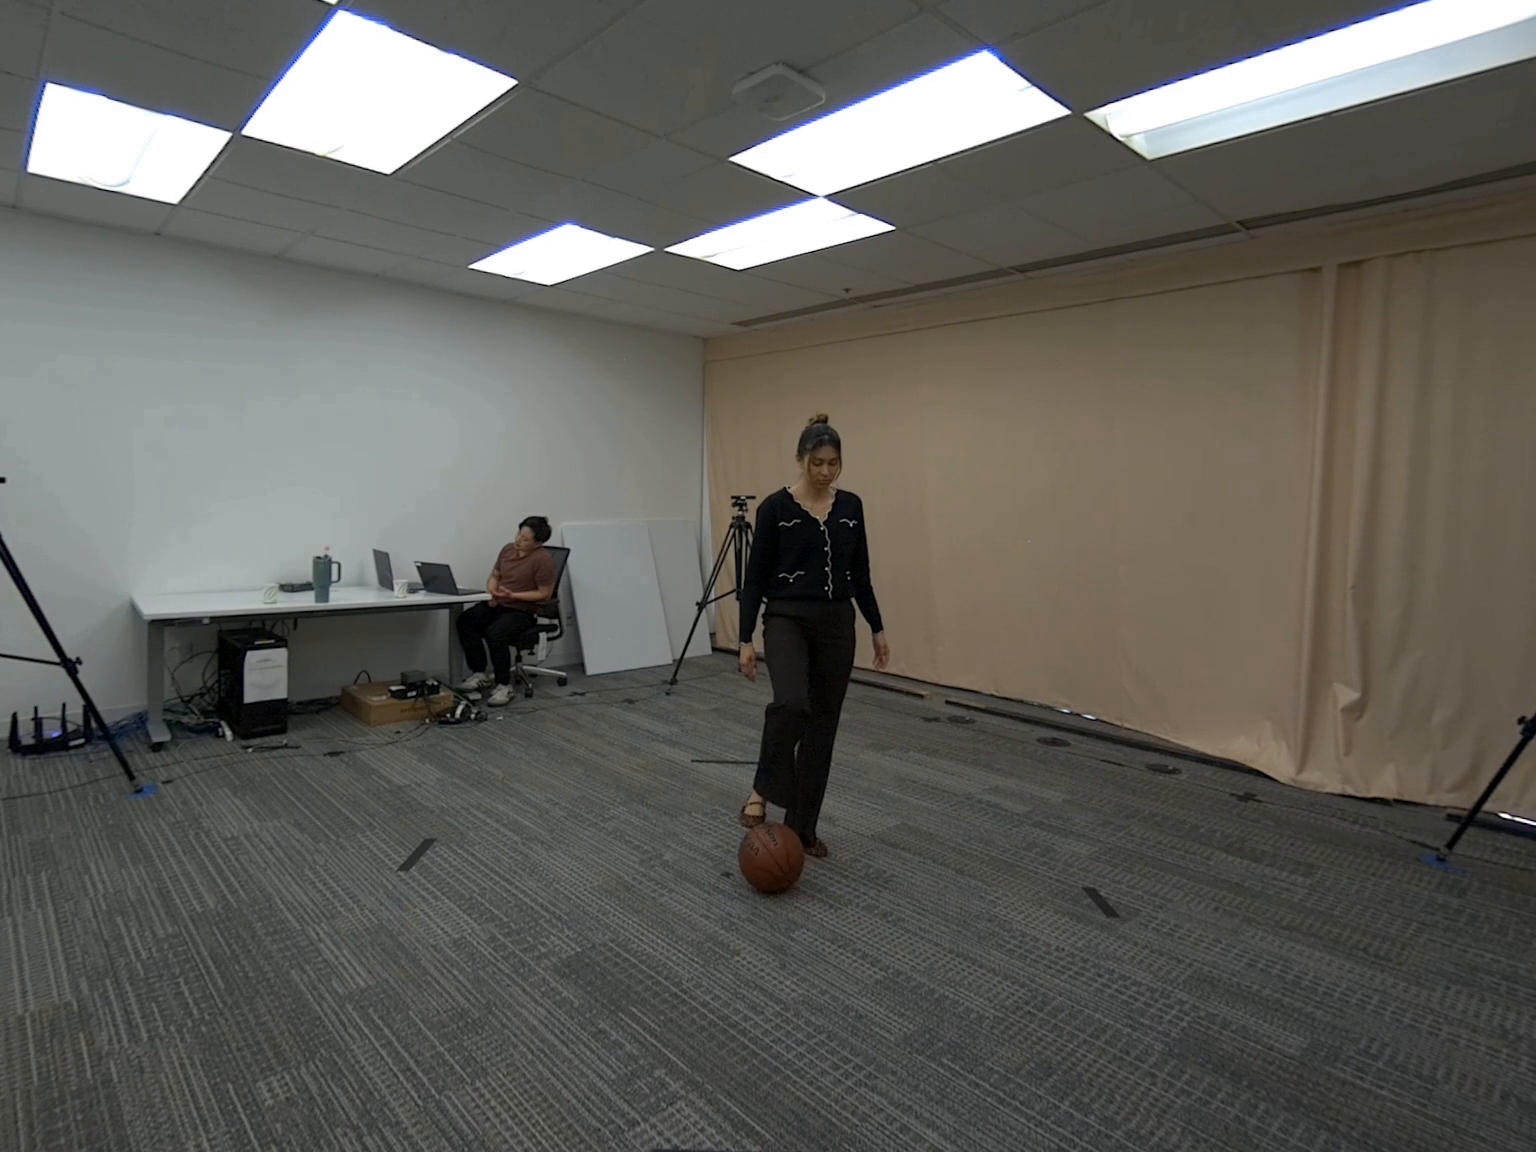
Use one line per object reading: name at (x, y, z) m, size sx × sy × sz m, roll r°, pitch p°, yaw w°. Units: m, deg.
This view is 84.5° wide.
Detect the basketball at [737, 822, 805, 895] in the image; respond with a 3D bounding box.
basketball at (0.012, 0.998, 2.983) m, size 0.236 × 0.235 × 0.237 m, roll 1°, pitch 4°, yaw -1°
